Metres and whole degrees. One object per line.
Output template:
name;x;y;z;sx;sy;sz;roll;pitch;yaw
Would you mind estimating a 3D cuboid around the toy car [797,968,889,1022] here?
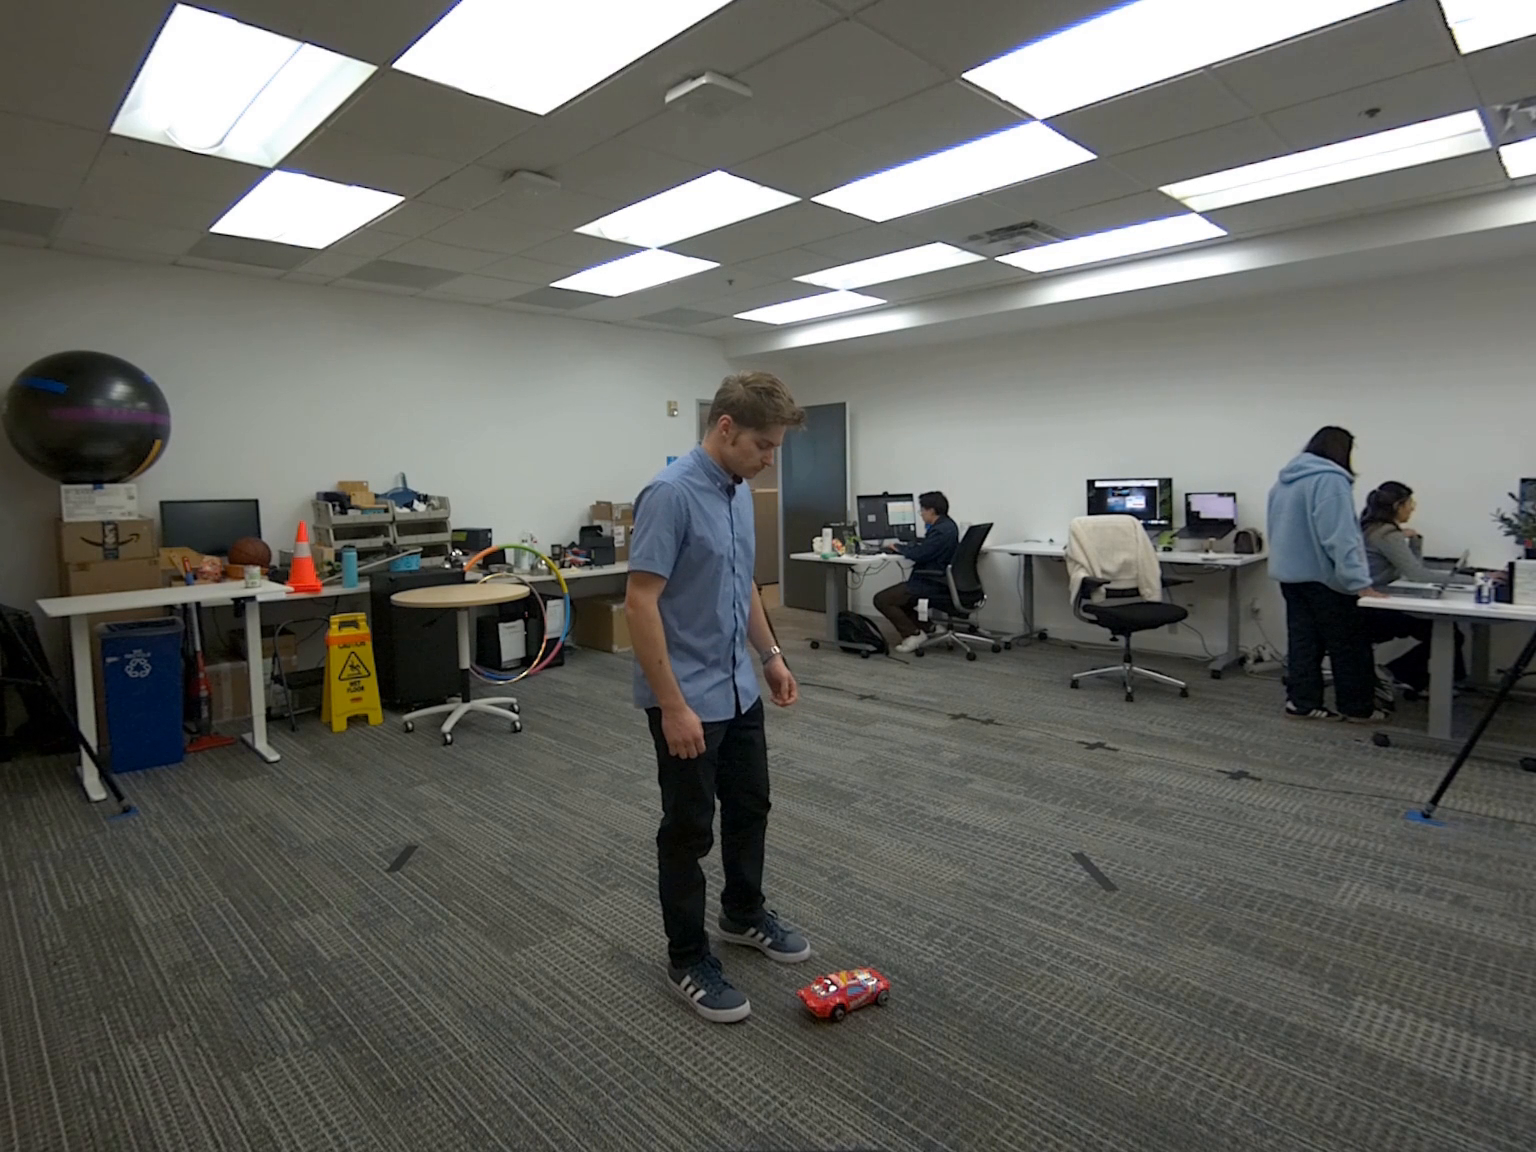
toy car;0.204;1.111;2.259;0.248;0.083;0.134;7;2;-28
